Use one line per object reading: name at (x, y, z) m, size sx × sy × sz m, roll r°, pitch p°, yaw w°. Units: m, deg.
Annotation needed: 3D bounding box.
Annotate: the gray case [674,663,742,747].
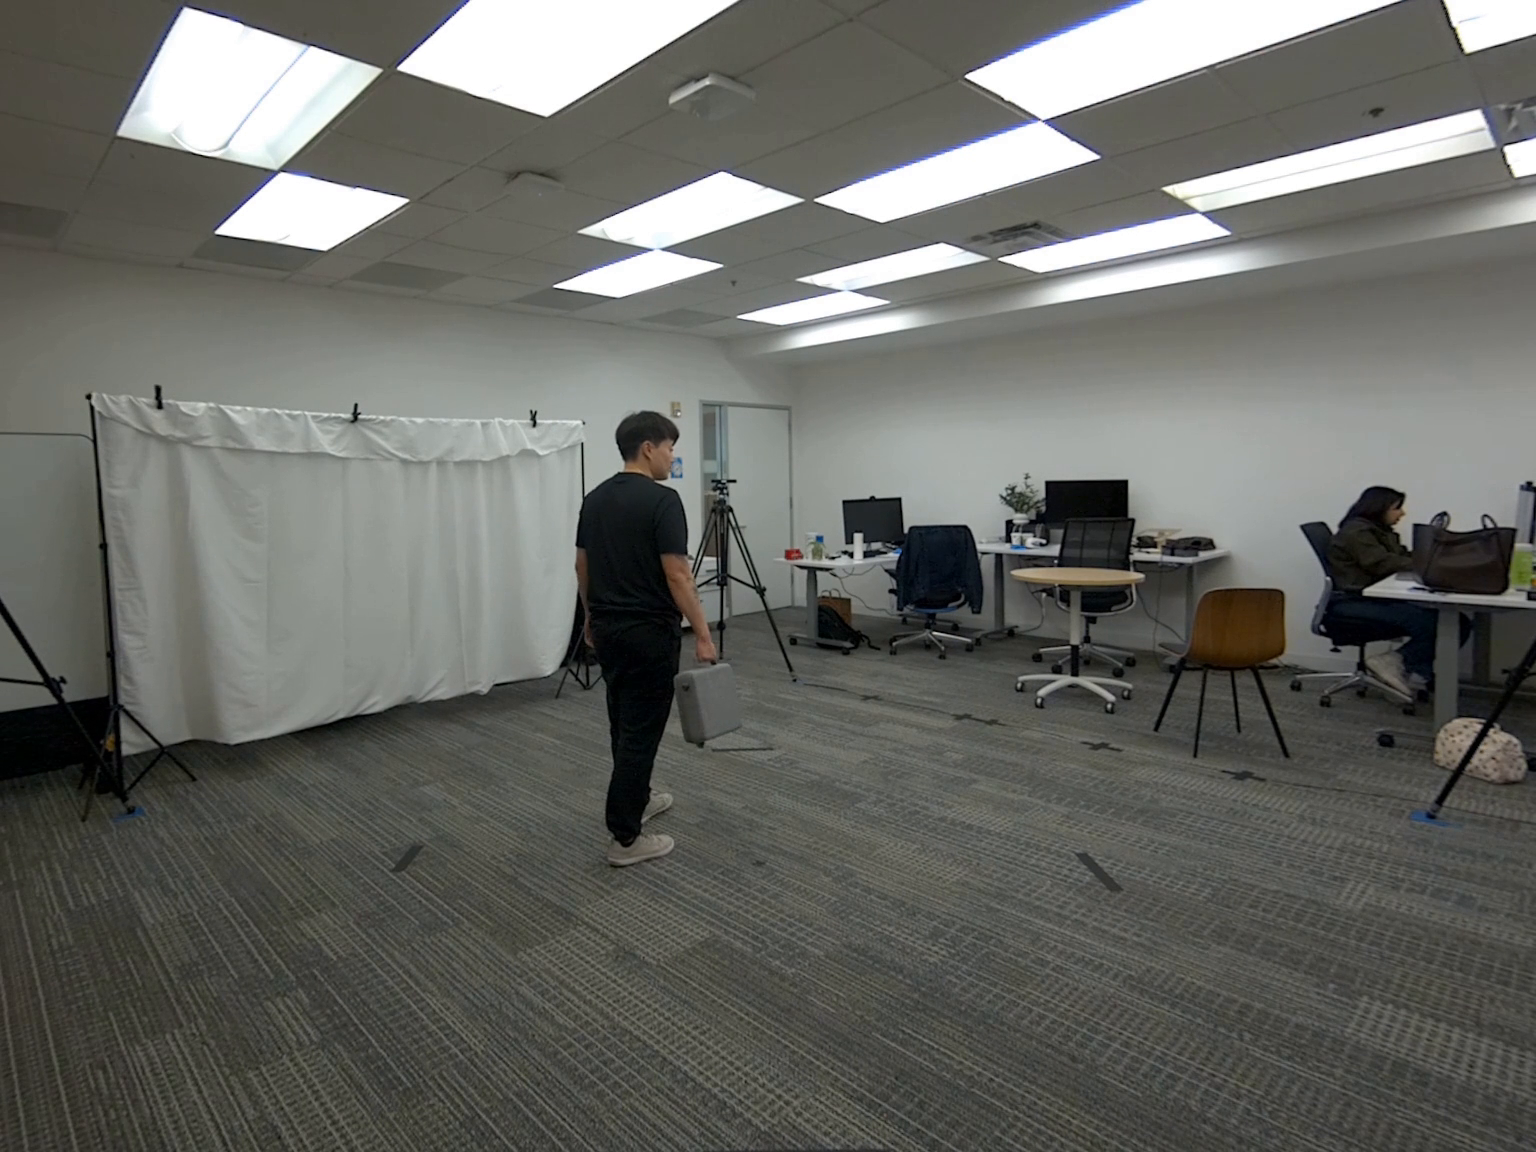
gray case at (-0.222, 0.445, 3.098) m, size 0.106 × 0.261 × 0.250 m, roll -9°, pitch -3°, yaw 31°
